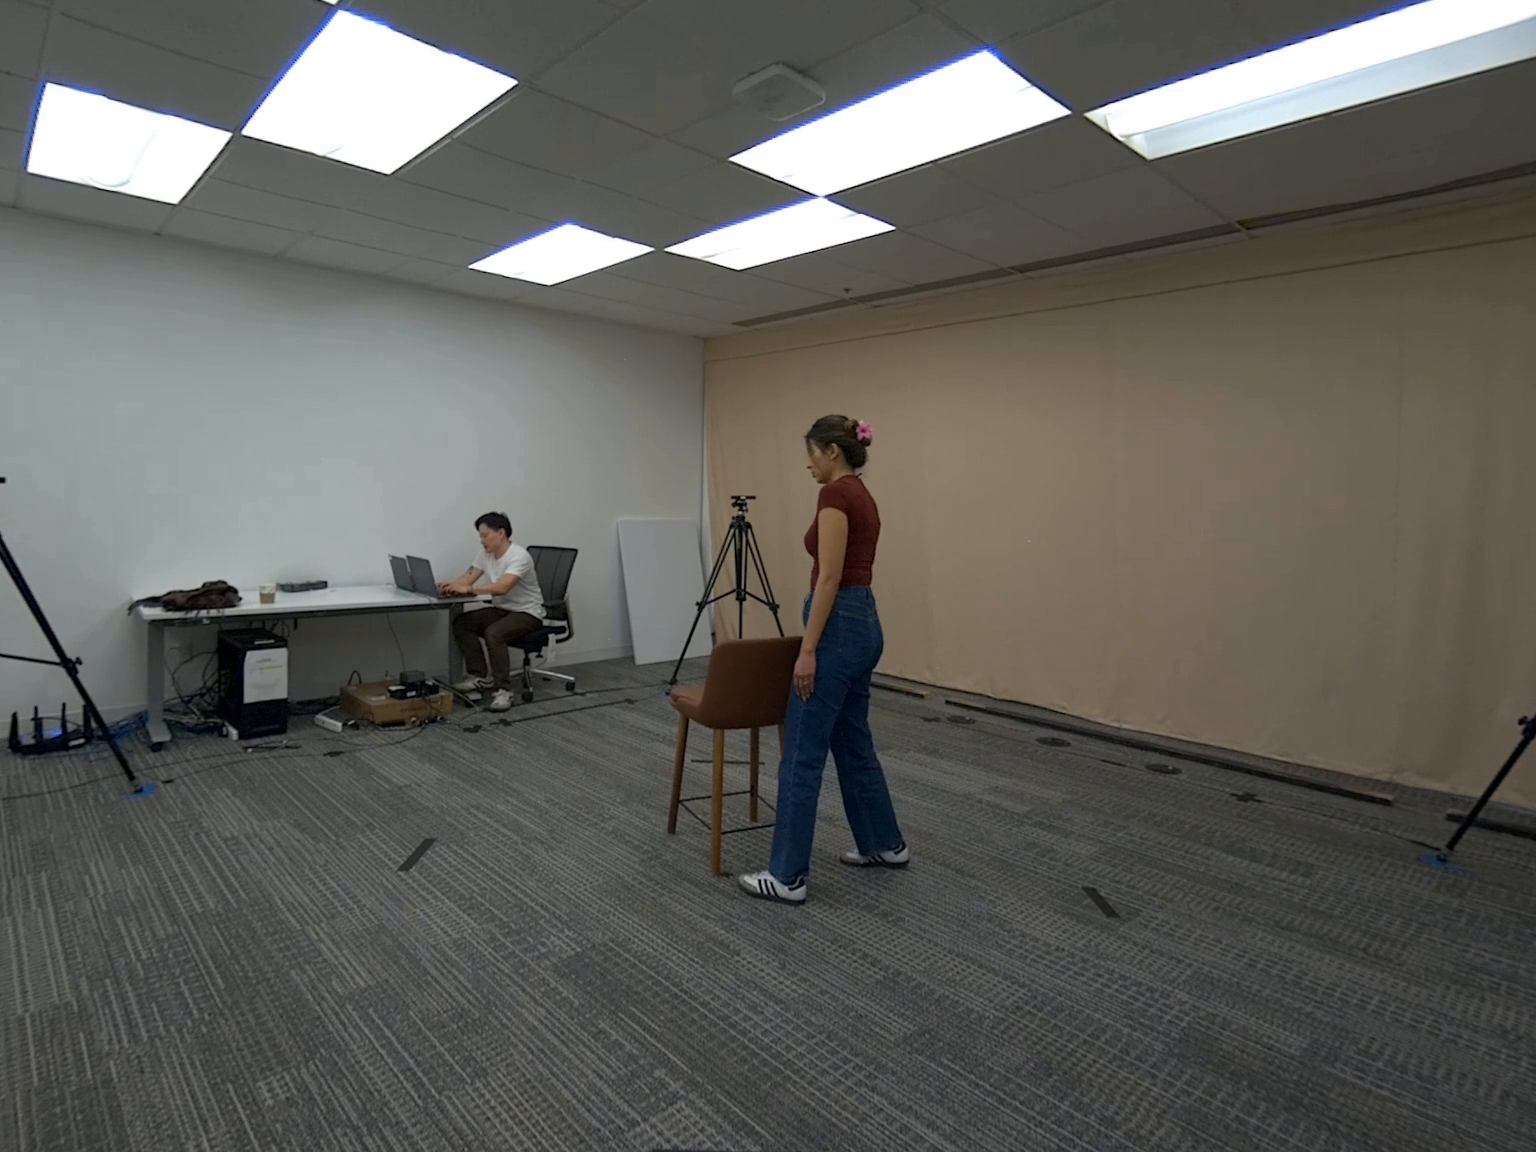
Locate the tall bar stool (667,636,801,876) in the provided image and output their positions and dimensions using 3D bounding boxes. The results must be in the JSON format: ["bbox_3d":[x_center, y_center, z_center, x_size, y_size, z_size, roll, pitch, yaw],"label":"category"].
[{"bbox_3d":[-0.127,0.643,3.327,0.448,0.886,0.478,-1,6,-26],"label":"tall bar stool"}]
